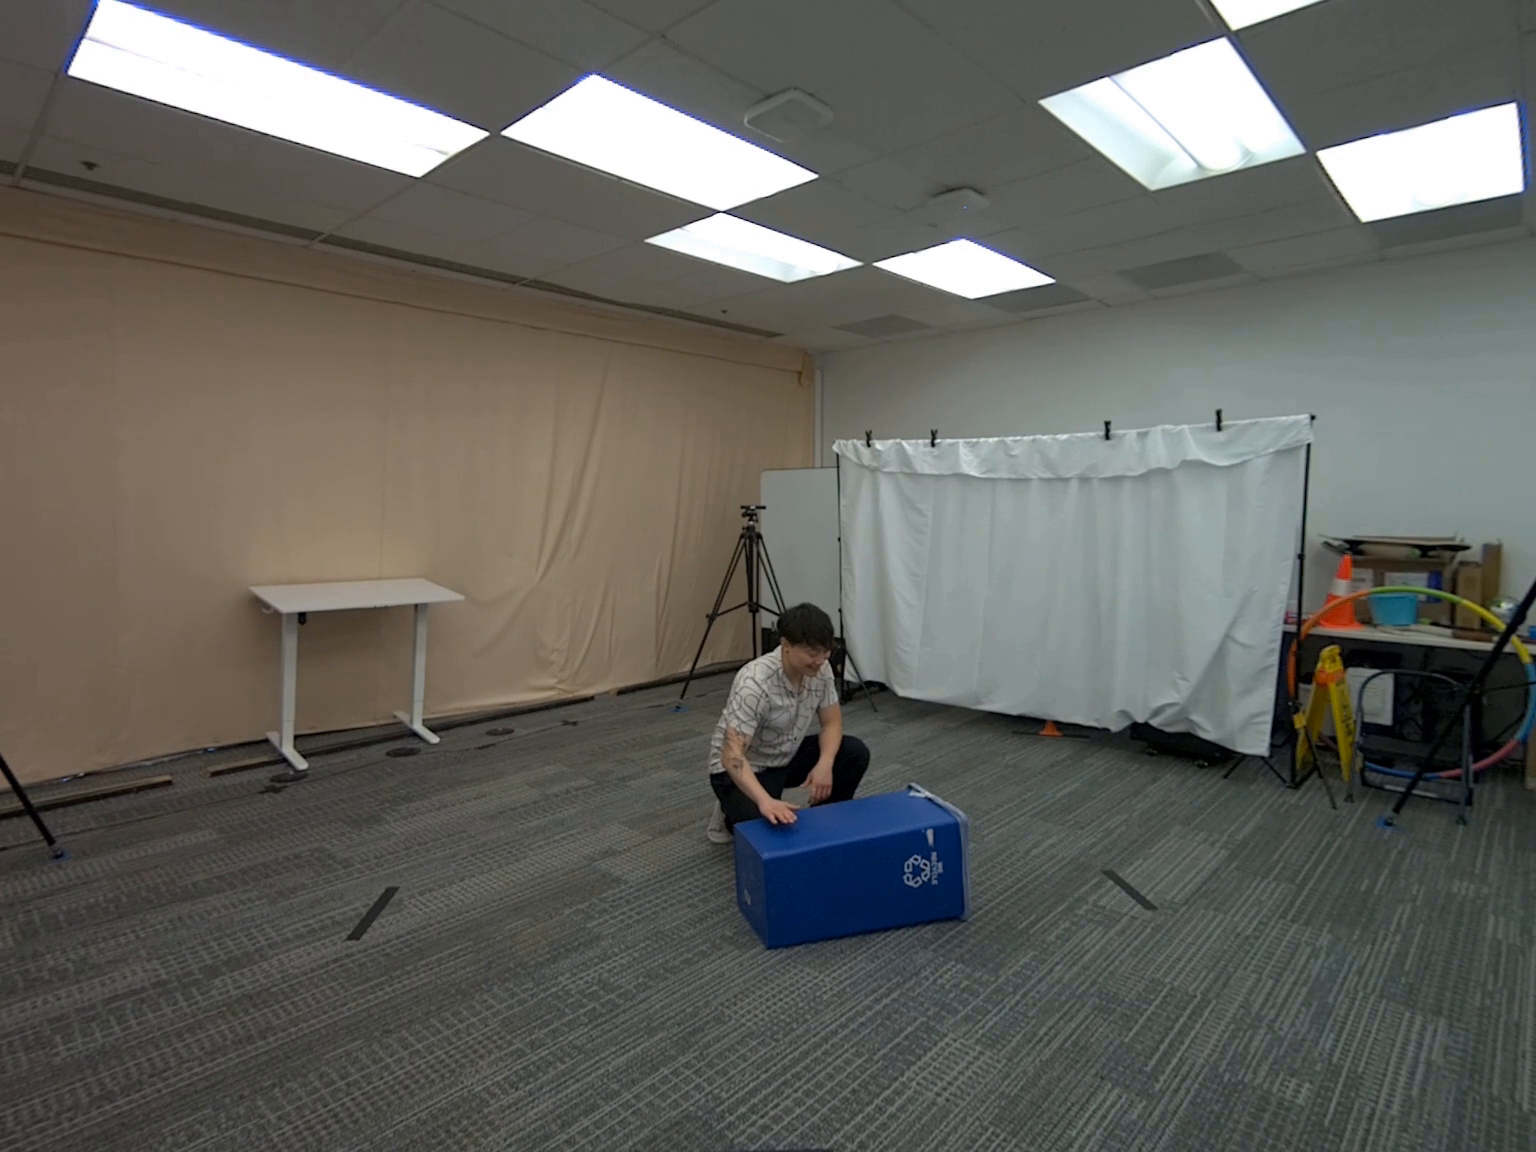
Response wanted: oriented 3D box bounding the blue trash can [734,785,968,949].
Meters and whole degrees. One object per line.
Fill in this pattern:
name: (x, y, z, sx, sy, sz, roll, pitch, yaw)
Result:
blue trash can: (0.276, 0.982, 2.872, 0.701, 0.373, 0.385, -5, 4, -17)
